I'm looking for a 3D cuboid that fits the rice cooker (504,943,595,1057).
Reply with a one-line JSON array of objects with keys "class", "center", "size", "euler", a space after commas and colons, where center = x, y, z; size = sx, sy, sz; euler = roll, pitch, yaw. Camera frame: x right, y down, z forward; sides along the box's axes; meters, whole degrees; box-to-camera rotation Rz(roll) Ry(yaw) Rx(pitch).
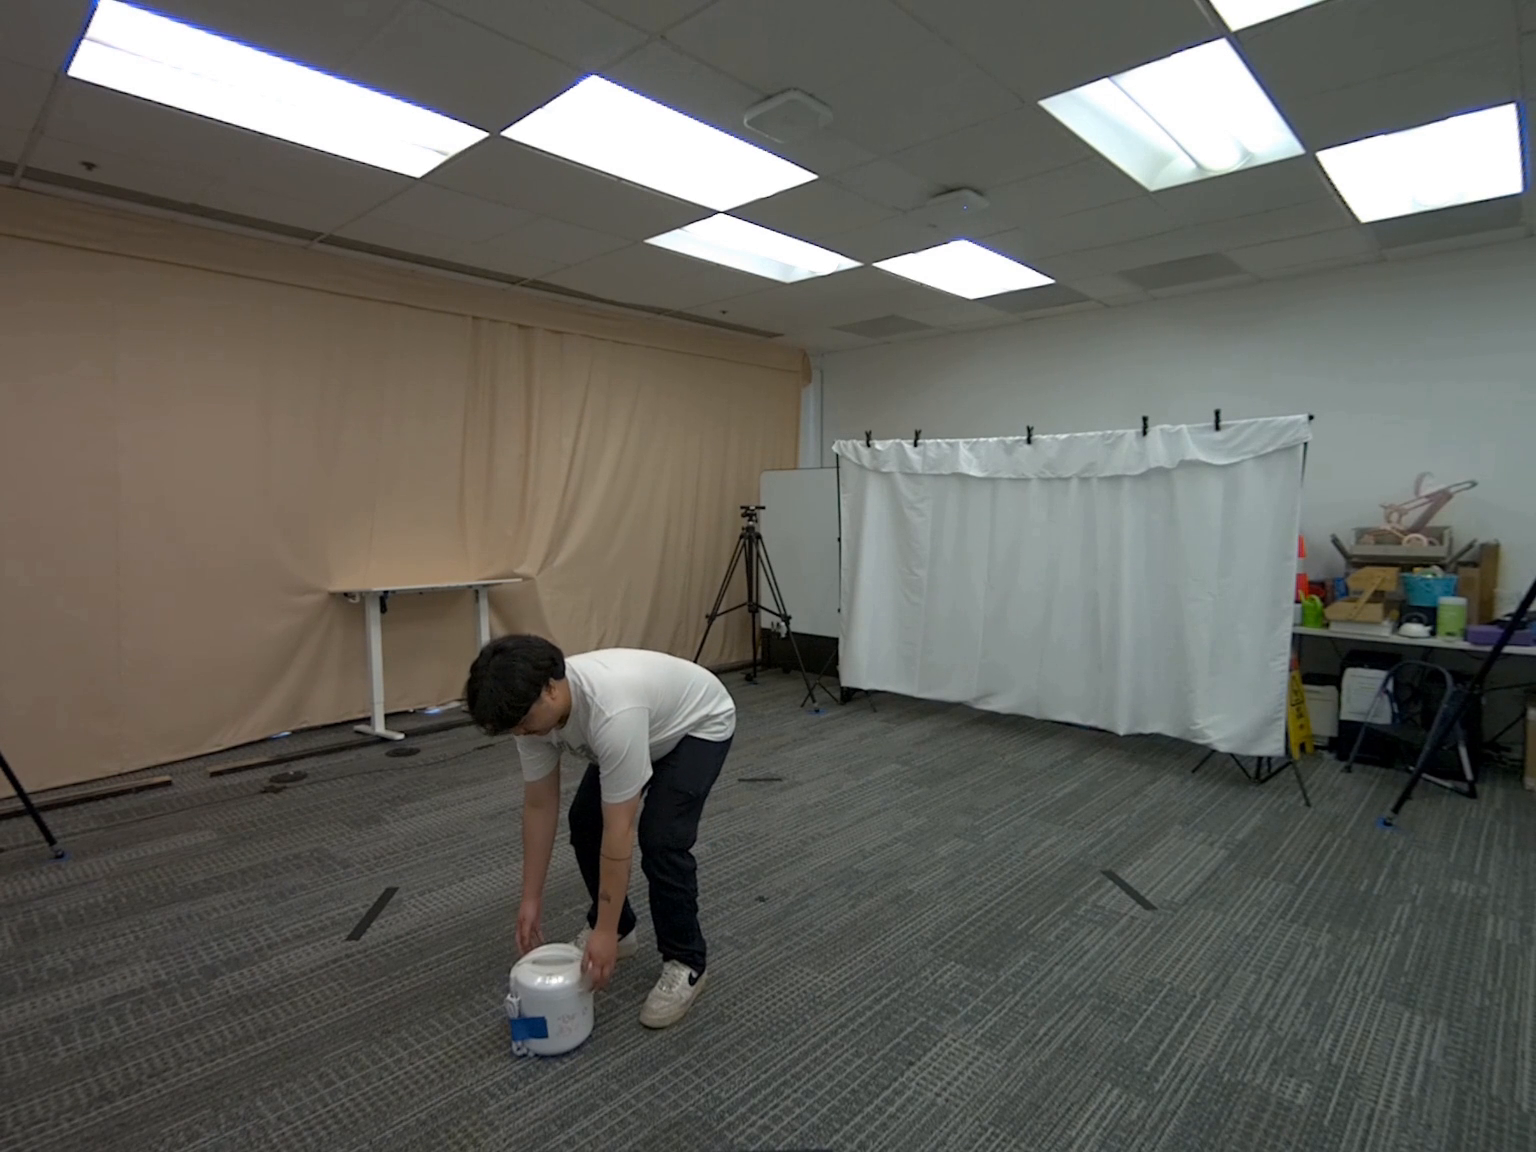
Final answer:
[{"class": "rice cooker", "center": [-0.562, 1.093, 2.216], "size": [0.220, 0.232, 0.219], "euler": [-2, 5, -4]}]
